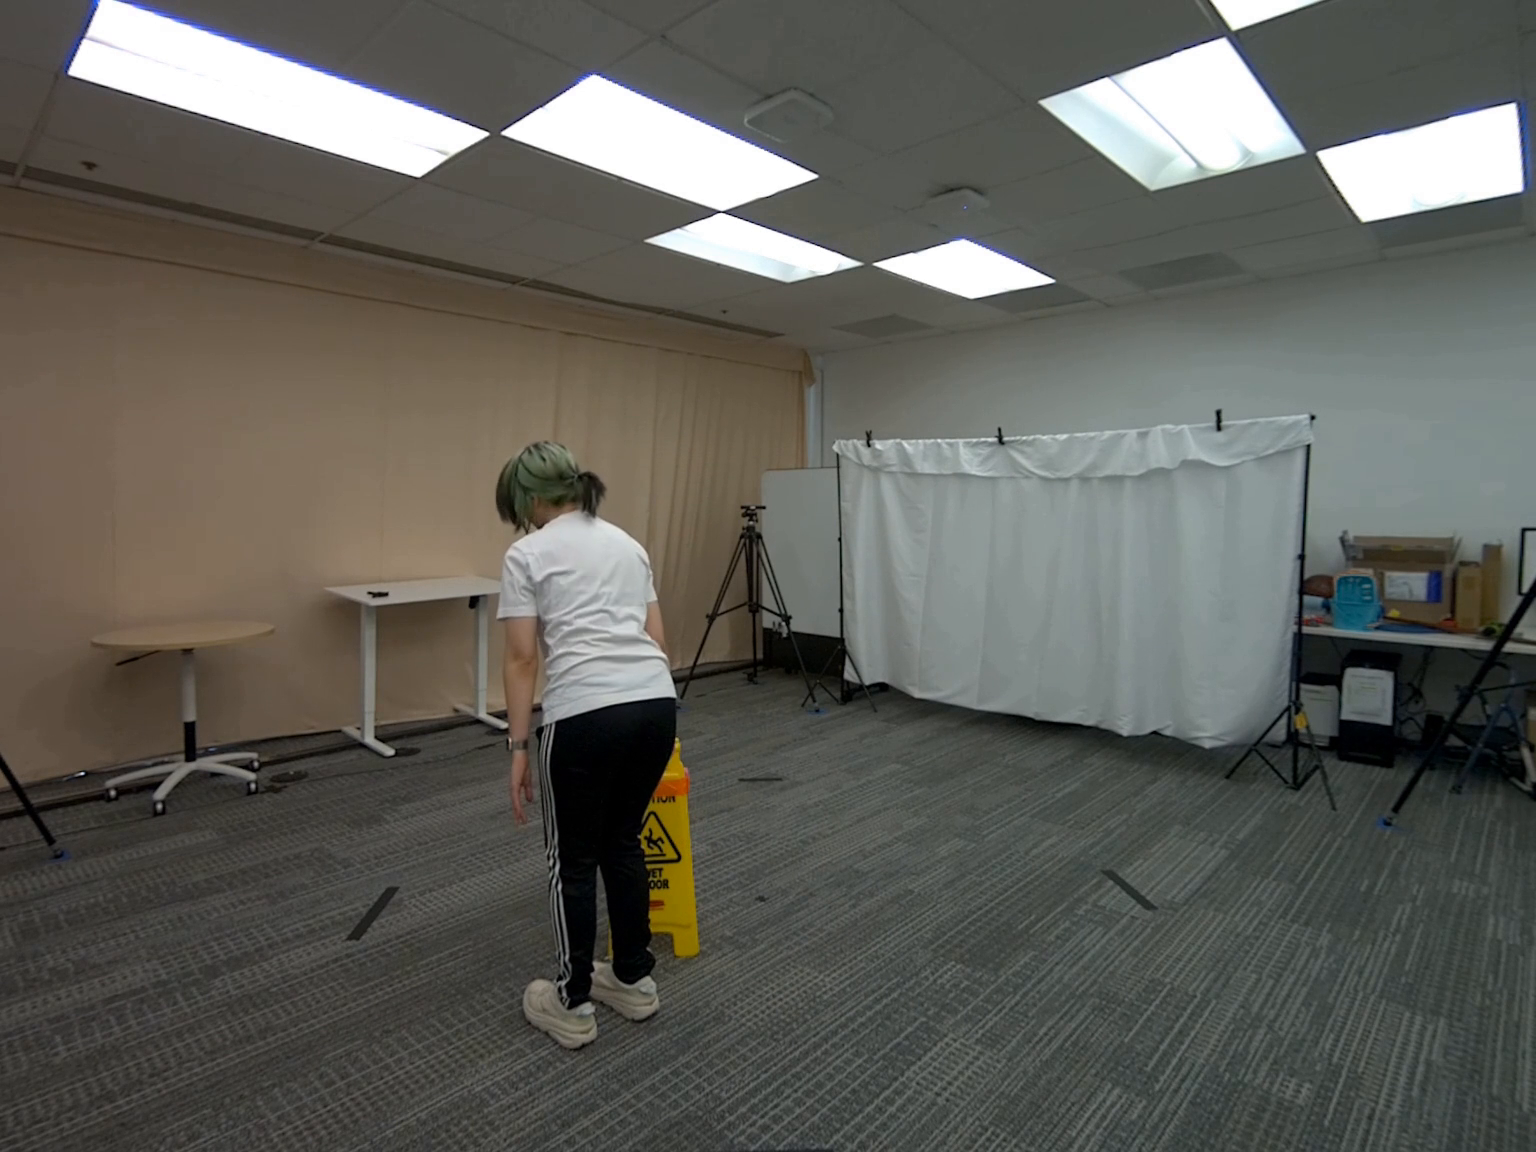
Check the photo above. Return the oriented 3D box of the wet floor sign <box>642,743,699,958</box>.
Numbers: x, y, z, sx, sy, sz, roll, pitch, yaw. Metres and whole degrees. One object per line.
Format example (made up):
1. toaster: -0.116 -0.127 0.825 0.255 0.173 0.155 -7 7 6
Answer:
1. wet floor sign: -0.380 0.849 2.692 0.280 0.645 0.293 -1 3 -8
